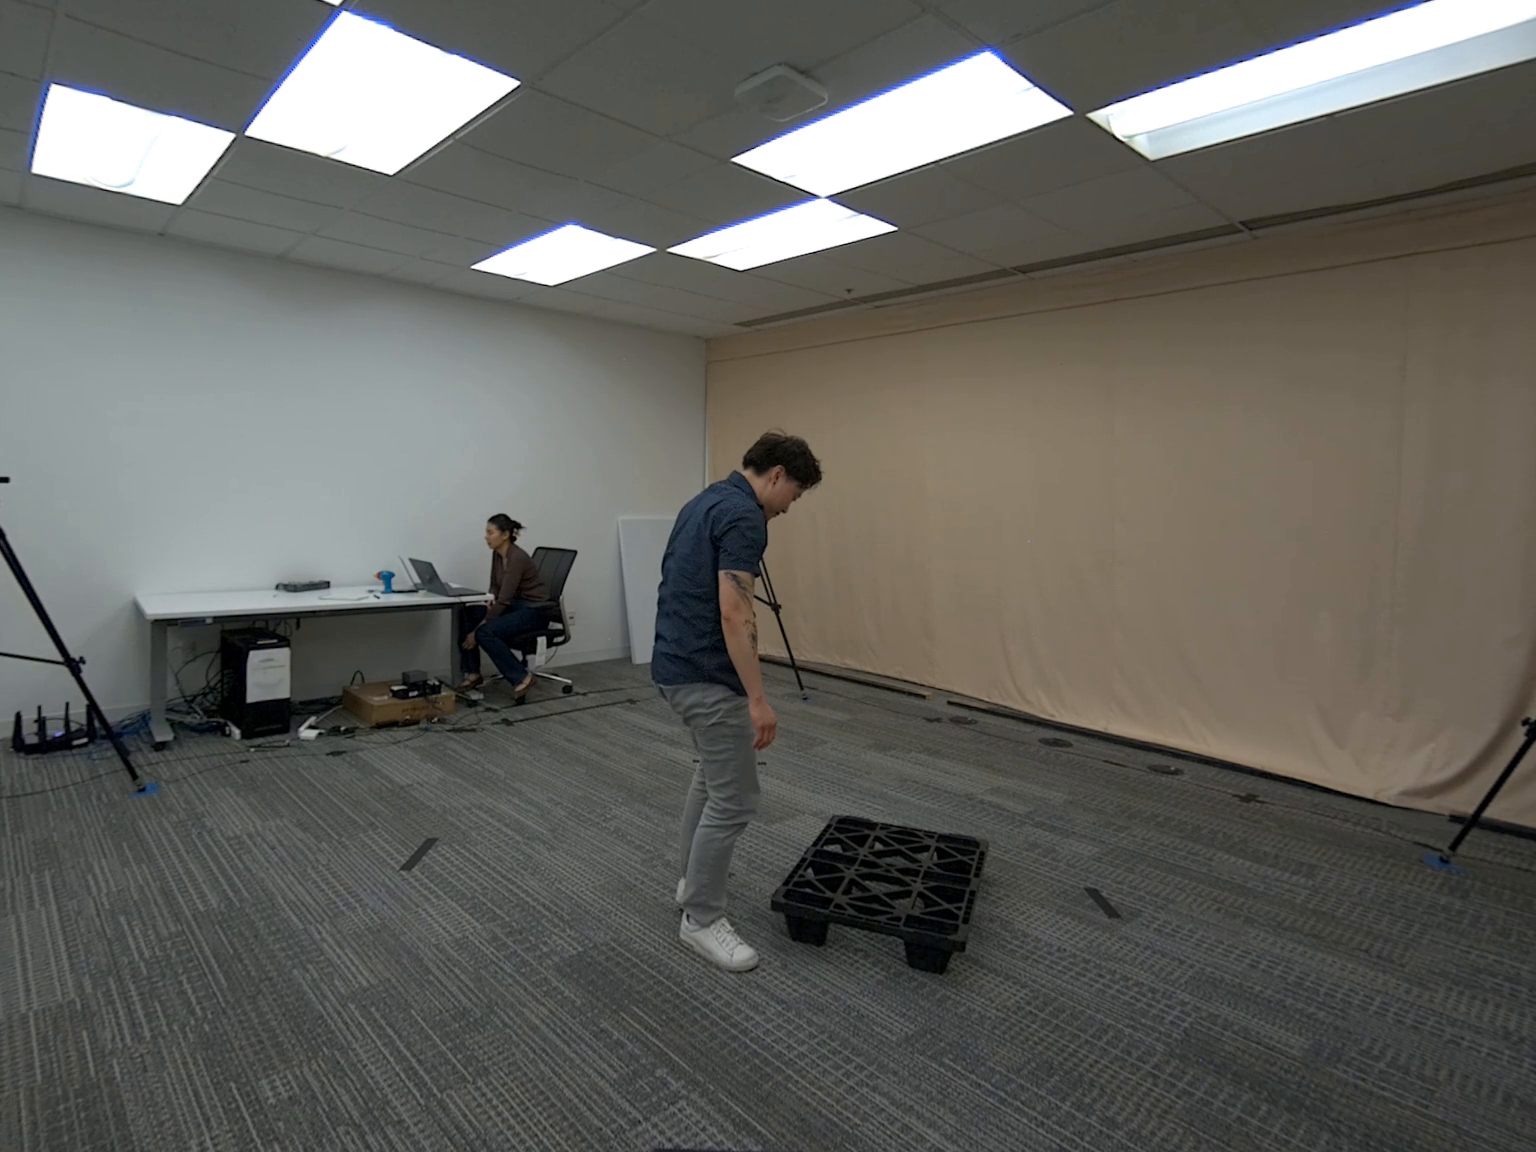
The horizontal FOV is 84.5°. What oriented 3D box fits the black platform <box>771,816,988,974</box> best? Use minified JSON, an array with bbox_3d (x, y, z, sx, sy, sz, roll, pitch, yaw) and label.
[{"bbox_3d":[0.404,1.066,2.898,0.615,0.143,0.794,3,5,20],"label":"black platform"}]
